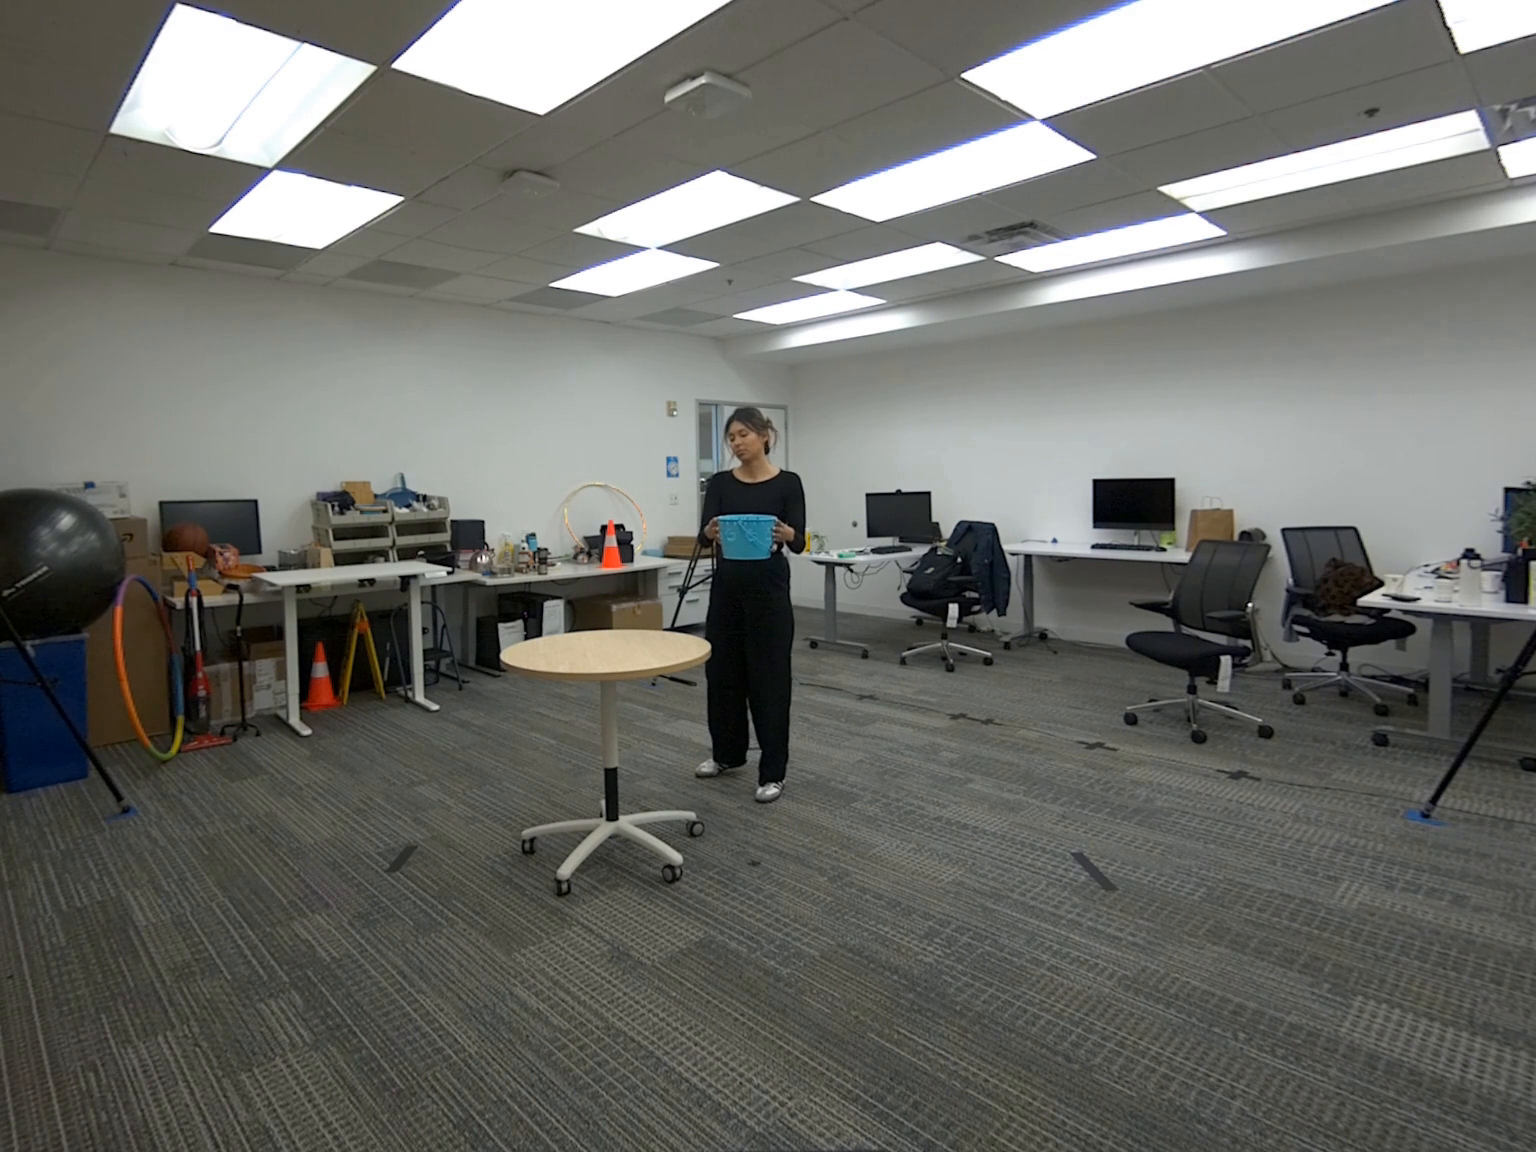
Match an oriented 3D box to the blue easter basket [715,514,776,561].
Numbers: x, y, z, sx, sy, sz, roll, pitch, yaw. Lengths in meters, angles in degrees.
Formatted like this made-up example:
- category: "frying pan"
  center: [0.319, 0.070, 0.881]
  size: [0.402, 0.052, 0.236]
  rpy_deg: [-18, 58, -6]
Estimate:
- category: "blue easter basket"
  center: [-0.081, -0.146, 3.291]
  size: [0.243, 0.155, 0.245]
  rpy_deg: [-1, 7, -2]
